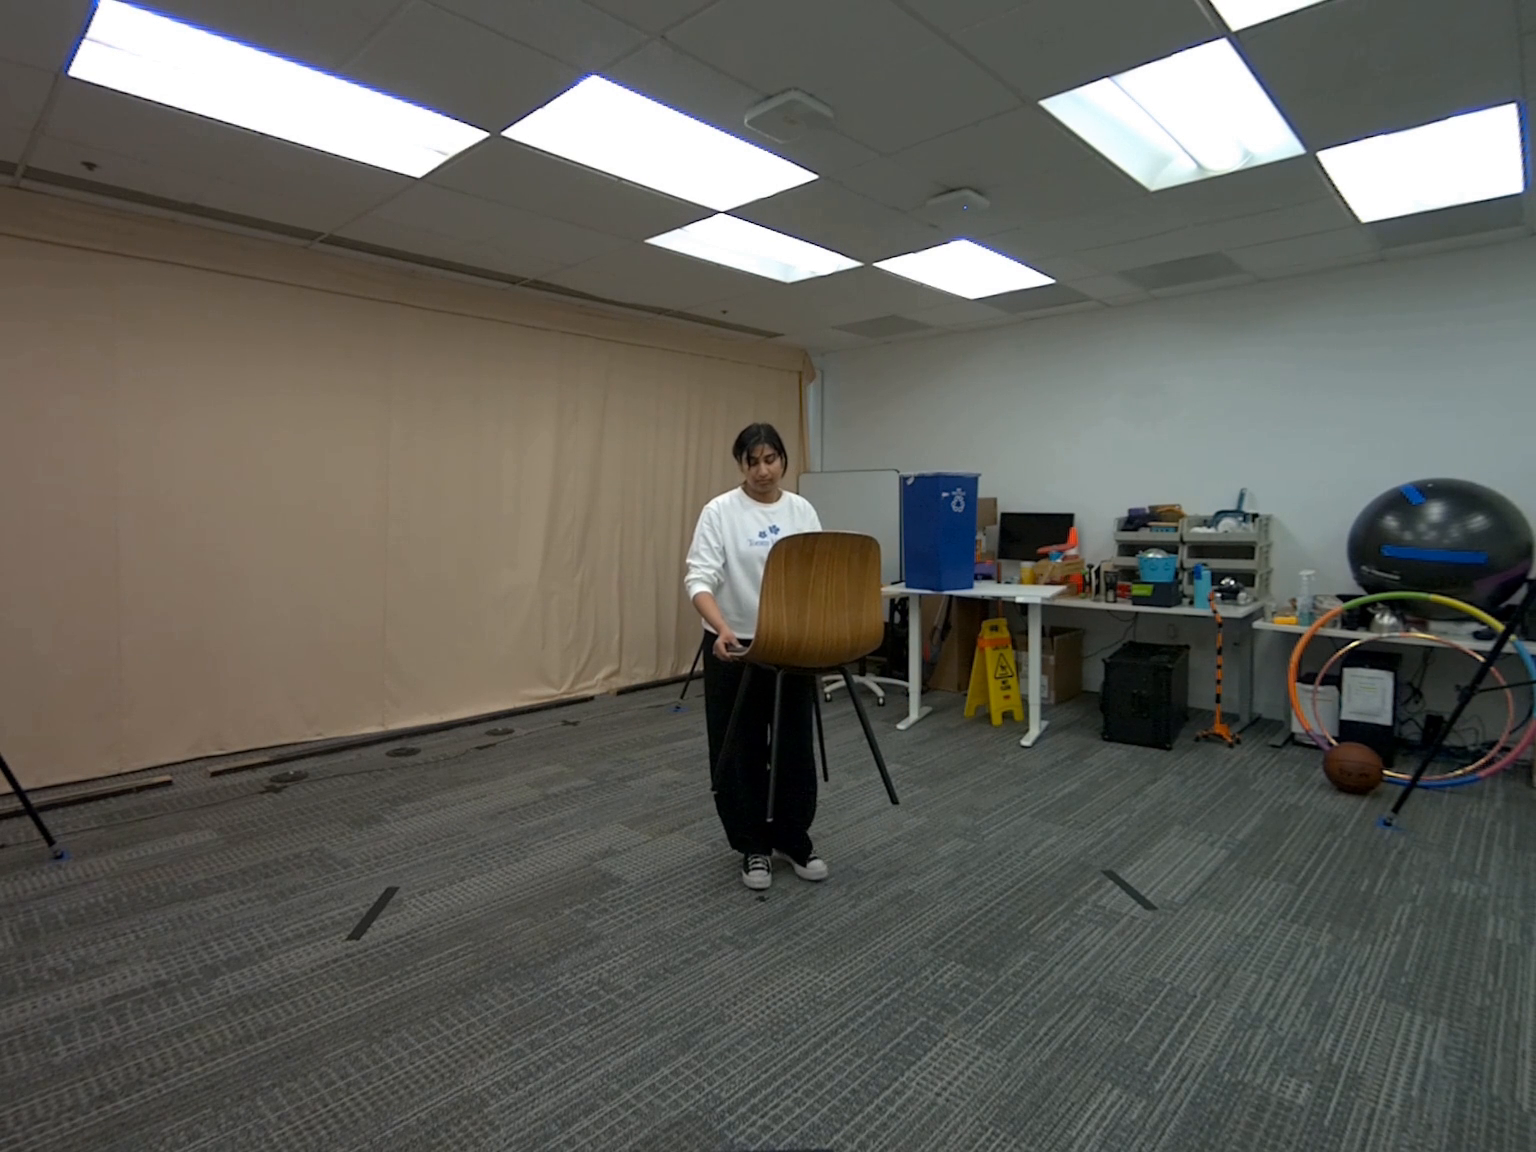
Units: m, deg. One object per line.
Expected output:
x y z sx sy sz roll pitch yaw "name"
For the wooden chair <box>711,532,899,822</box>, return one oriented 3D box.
0.101 0.302 2.775 0.467 0.878 0.535 0 -1 -24 "wooden chair"
